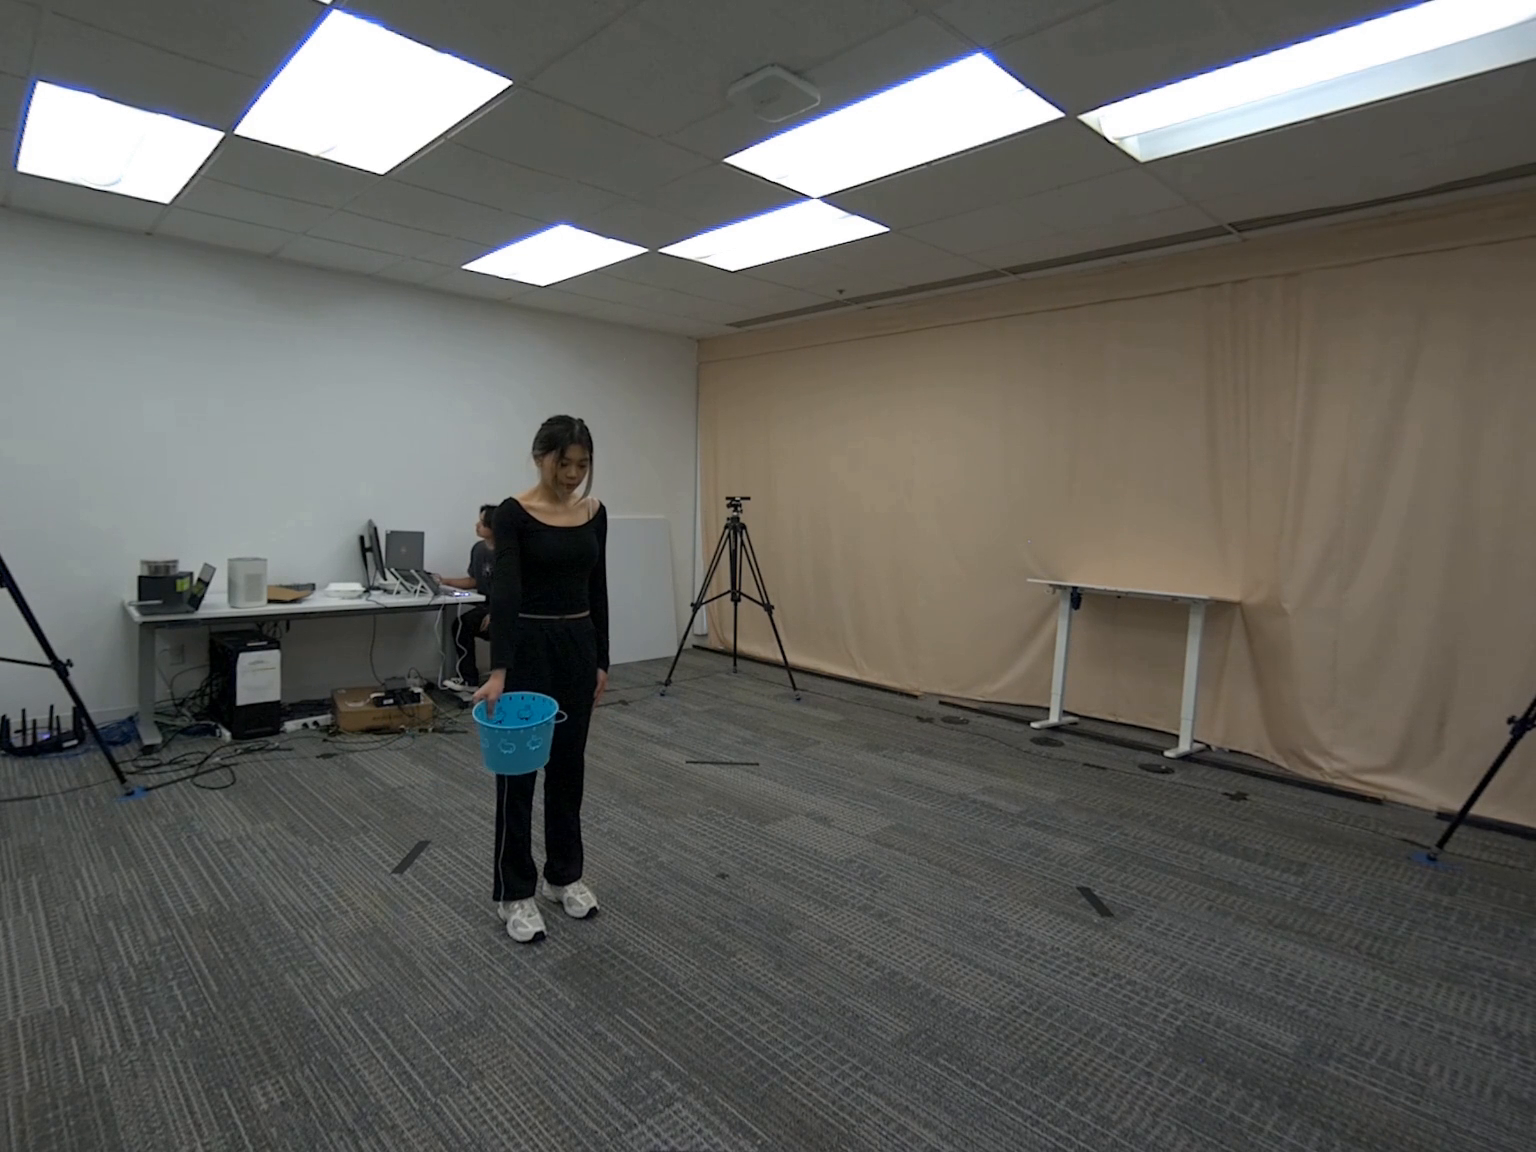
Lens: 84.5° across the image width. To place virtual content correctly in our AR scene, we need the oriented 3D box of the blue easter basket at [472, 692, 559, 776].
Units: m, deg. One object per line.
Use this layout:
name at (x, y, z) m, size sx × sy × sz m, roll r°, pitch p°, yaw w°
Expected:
blue easter basket at (-0.712, 0.444, 2.334) m, size 0.243 × 0.154 × 0.246 m, roll 2°, pitch 15°, yaw -2°
